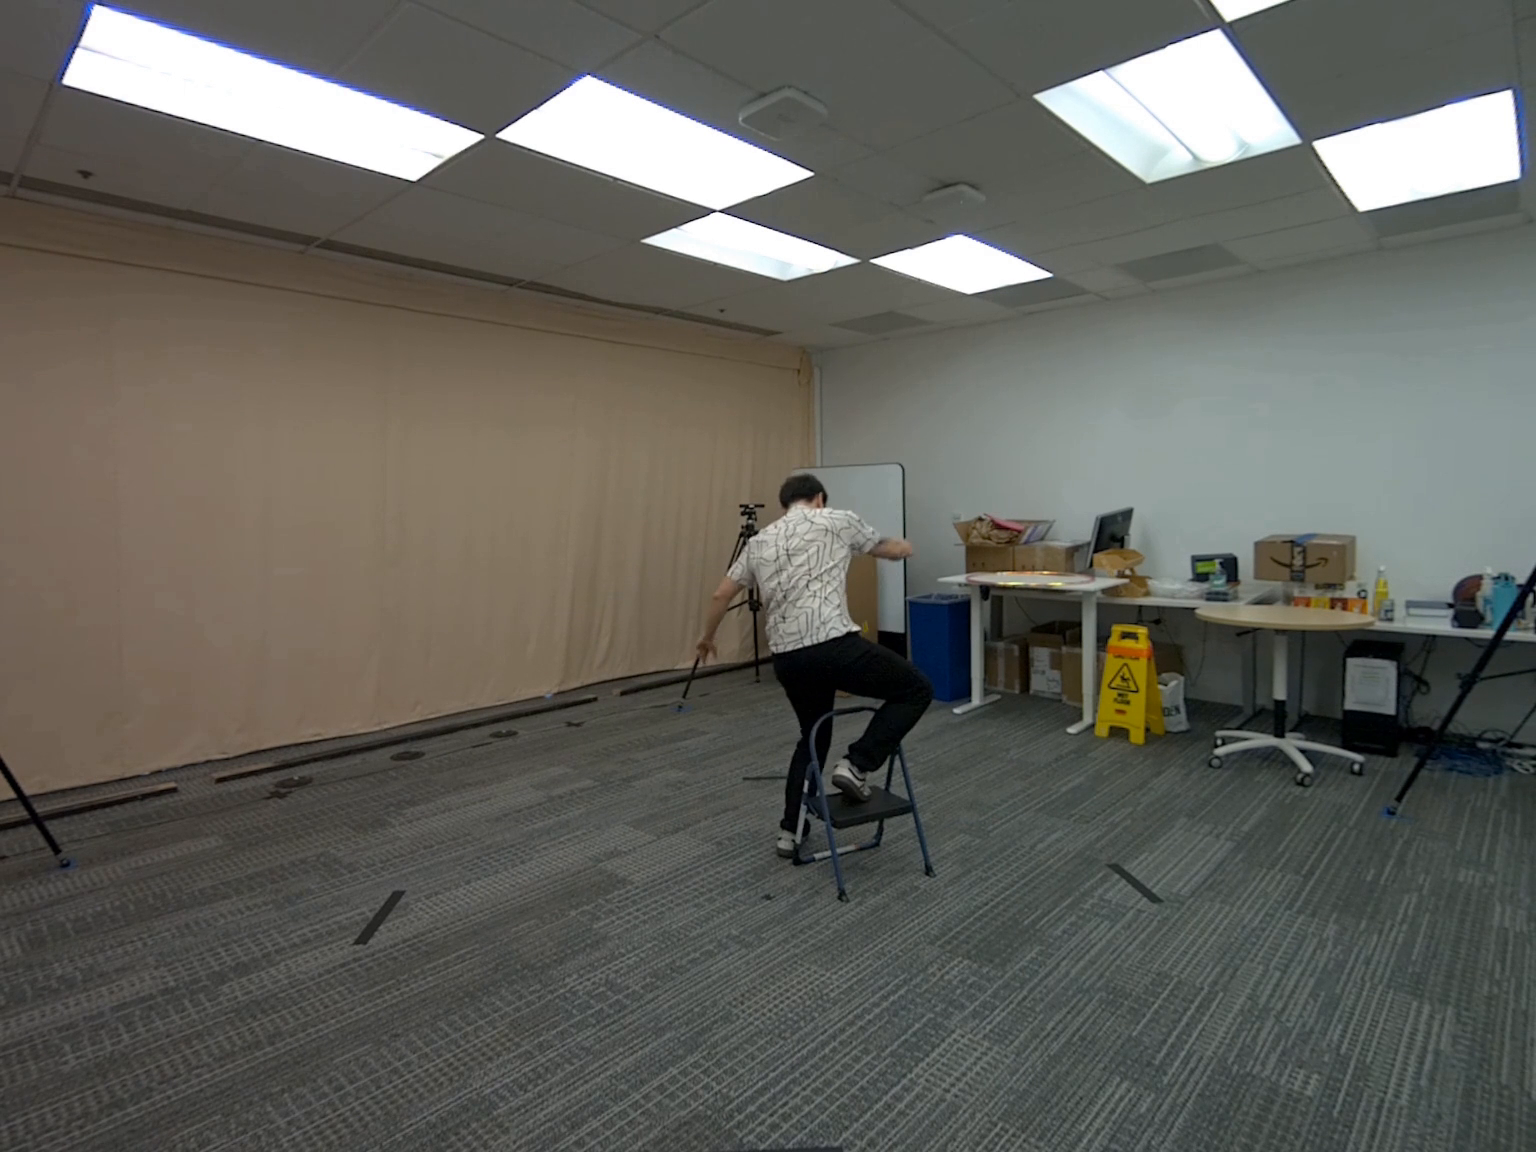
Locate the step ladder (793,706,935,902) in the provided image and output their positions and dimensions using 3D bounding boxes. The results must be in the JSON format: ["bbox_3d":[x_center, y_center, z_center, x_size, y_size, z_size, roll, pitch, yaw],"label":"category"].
[{"bbox_3d":[0.358,0.813,3.174,0.419,0.605,0.359,-3,4,-30],"label":"step ladder"}]
